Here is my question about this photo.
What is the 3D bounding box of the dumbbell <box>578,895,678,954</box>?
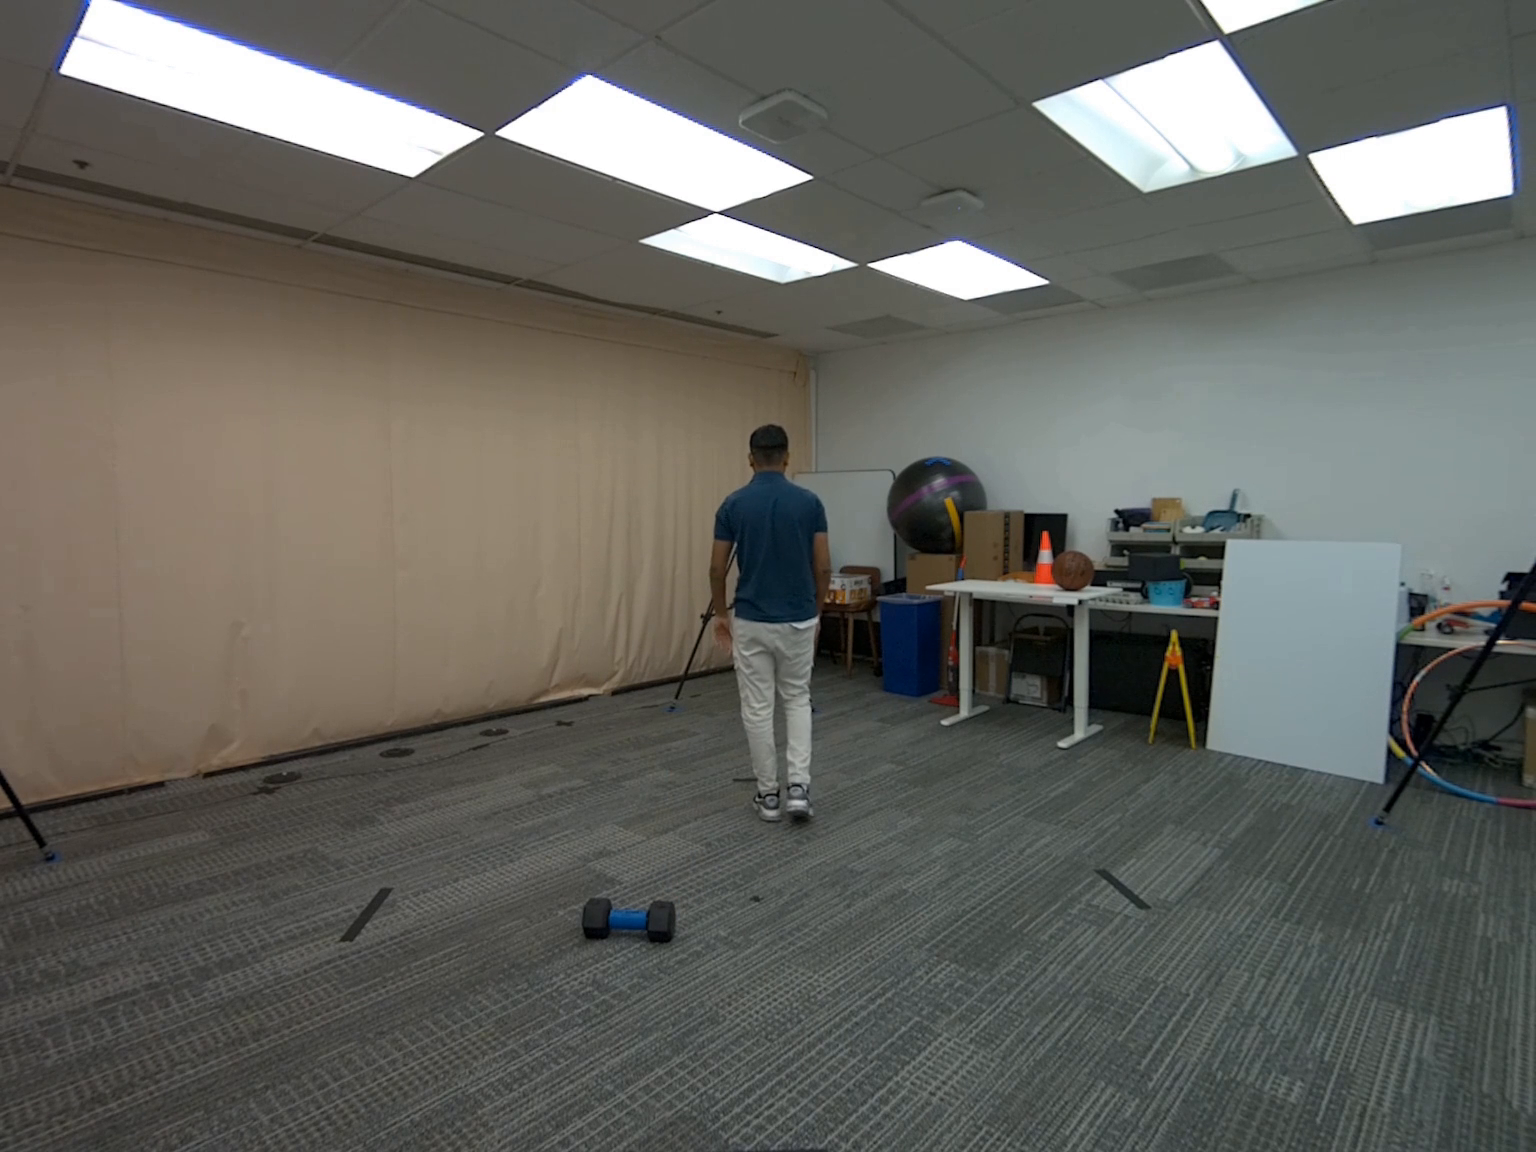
[{"bbox_3d":[-0.448,1.114,2.720,0.296,0.108,0.122,0,4,7],"label":"dumbbell"}]
